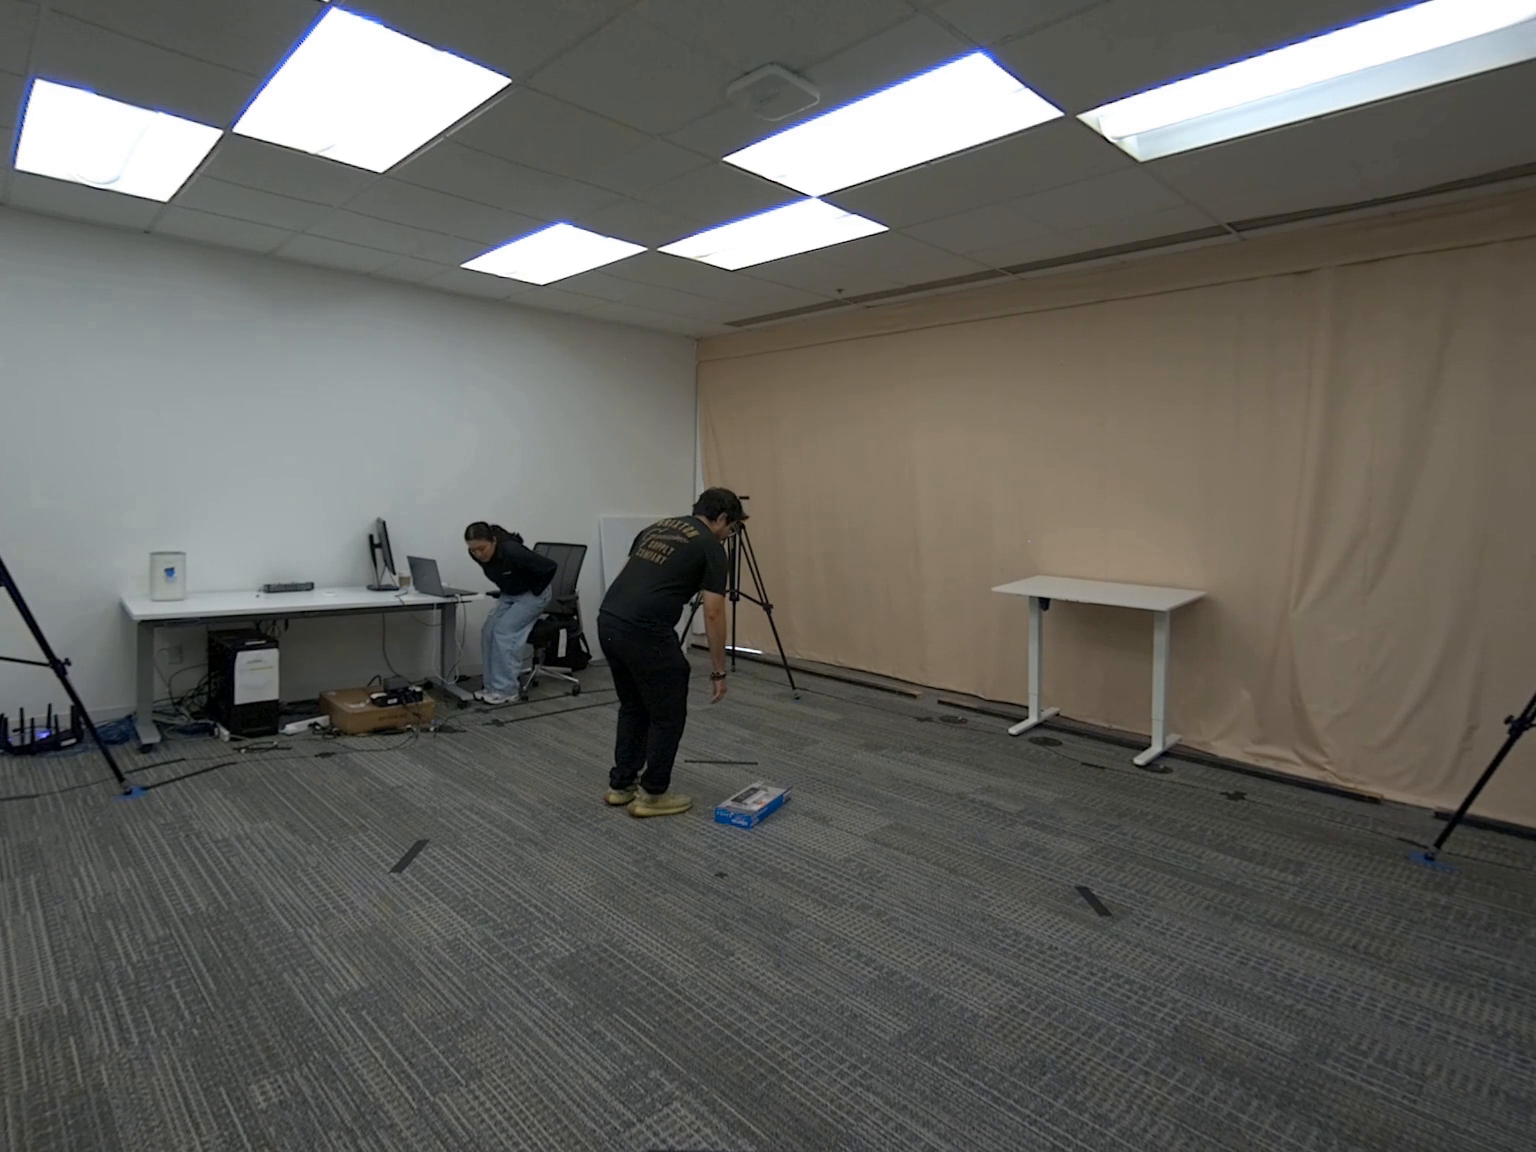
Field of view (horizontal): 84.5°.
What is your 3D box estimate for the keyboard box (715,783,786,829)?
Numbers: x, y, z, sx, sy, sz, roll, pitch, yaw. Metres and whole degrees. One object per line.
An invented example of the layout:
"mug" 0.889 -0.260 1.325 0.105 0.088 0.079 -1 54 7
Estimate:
"keyboard box" -0.066 1.019 3.776 0.179 0.059 0.429 5 6 26
